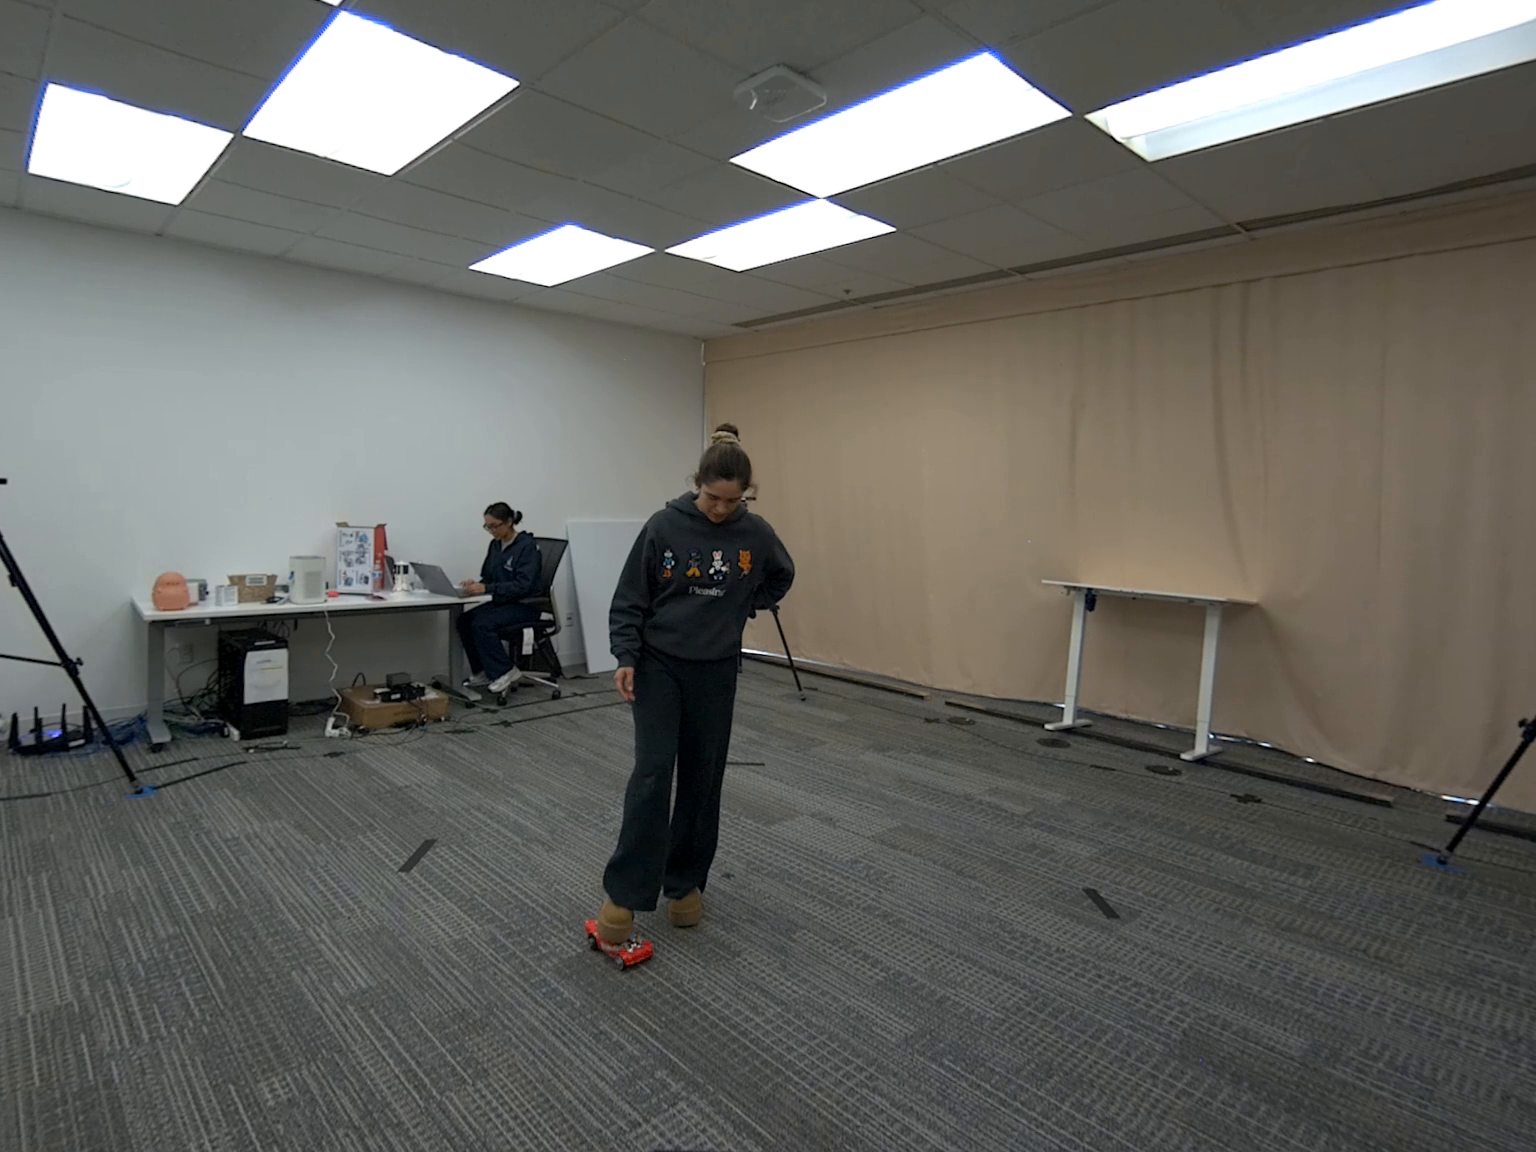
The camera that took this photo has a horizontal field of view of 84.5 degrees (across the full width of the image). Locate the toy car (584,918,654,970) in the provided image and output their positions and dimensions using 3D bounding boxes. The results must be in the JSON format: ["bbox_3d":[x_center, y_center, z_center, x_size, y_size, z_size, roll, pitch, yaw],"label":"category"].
[{"bbox_3d":[-0.469,1.120,2.582,0.127,0.082,0.262,-3,18,-42],"label":"toy car"}]
